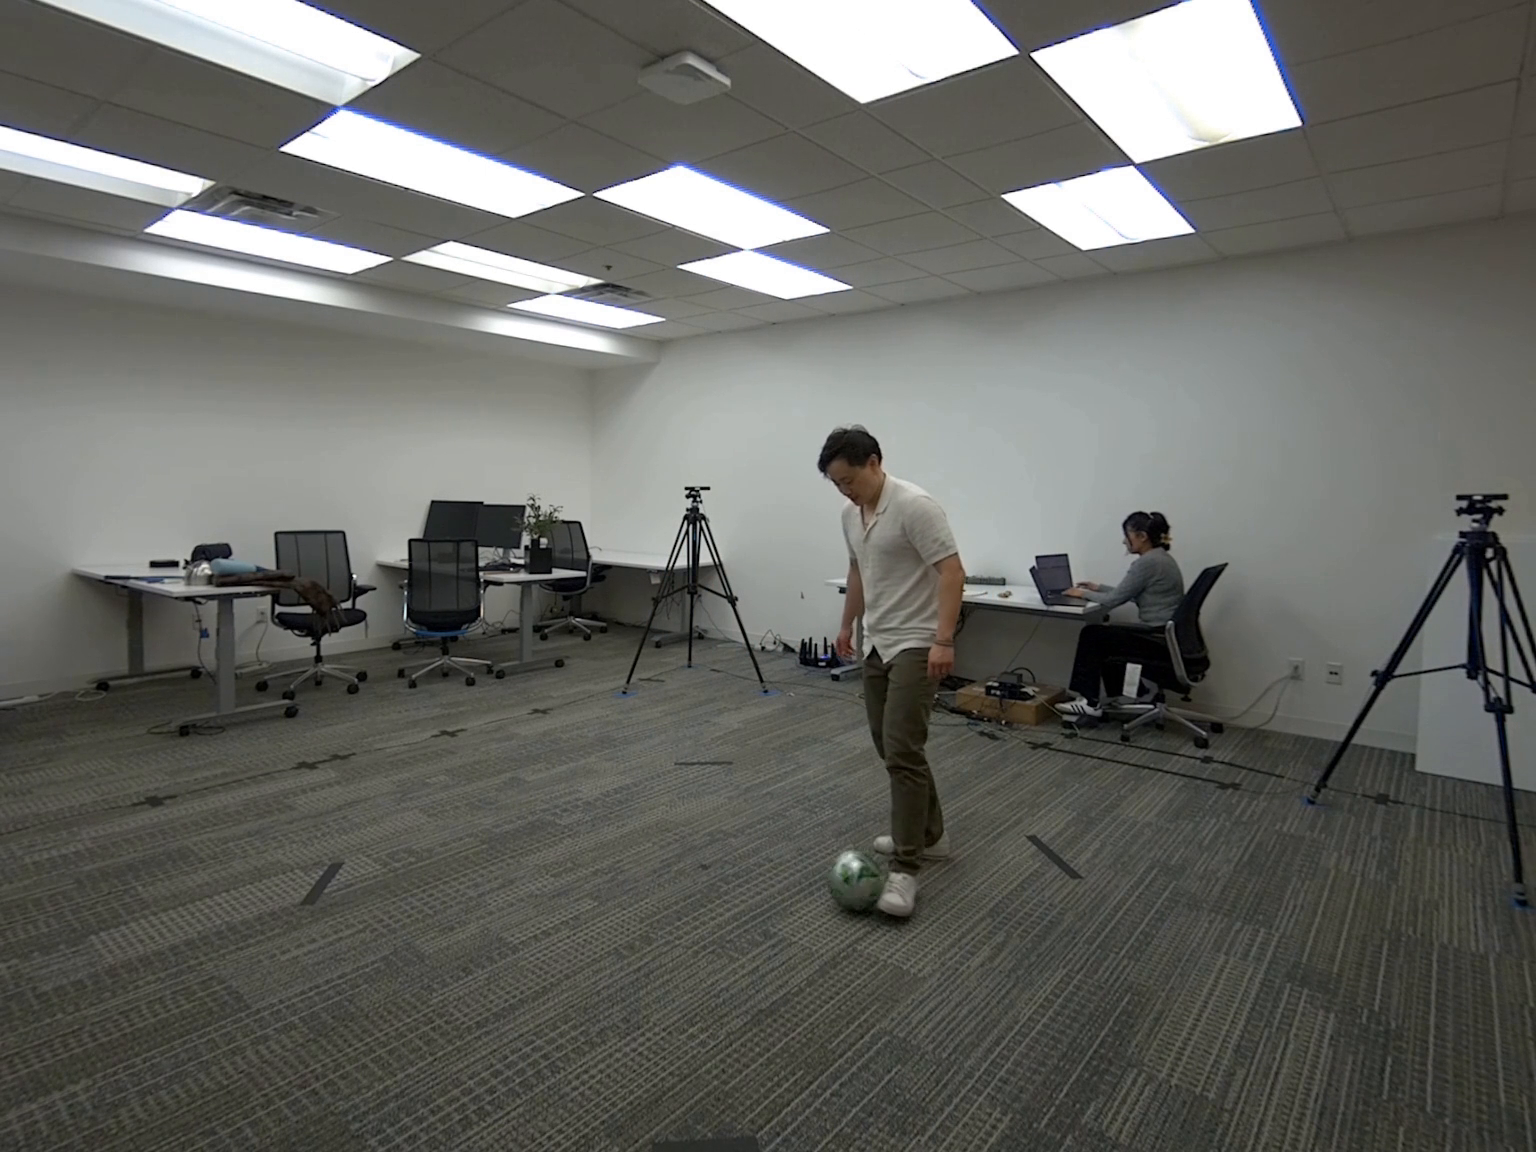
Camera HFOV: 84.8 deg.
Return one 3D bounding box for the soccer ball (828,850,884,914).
[{"bbox_3d":[0.289,1.003,2.839,0.187,0.187,0.188,0,4,-2],"label":"soccer ball"}]
